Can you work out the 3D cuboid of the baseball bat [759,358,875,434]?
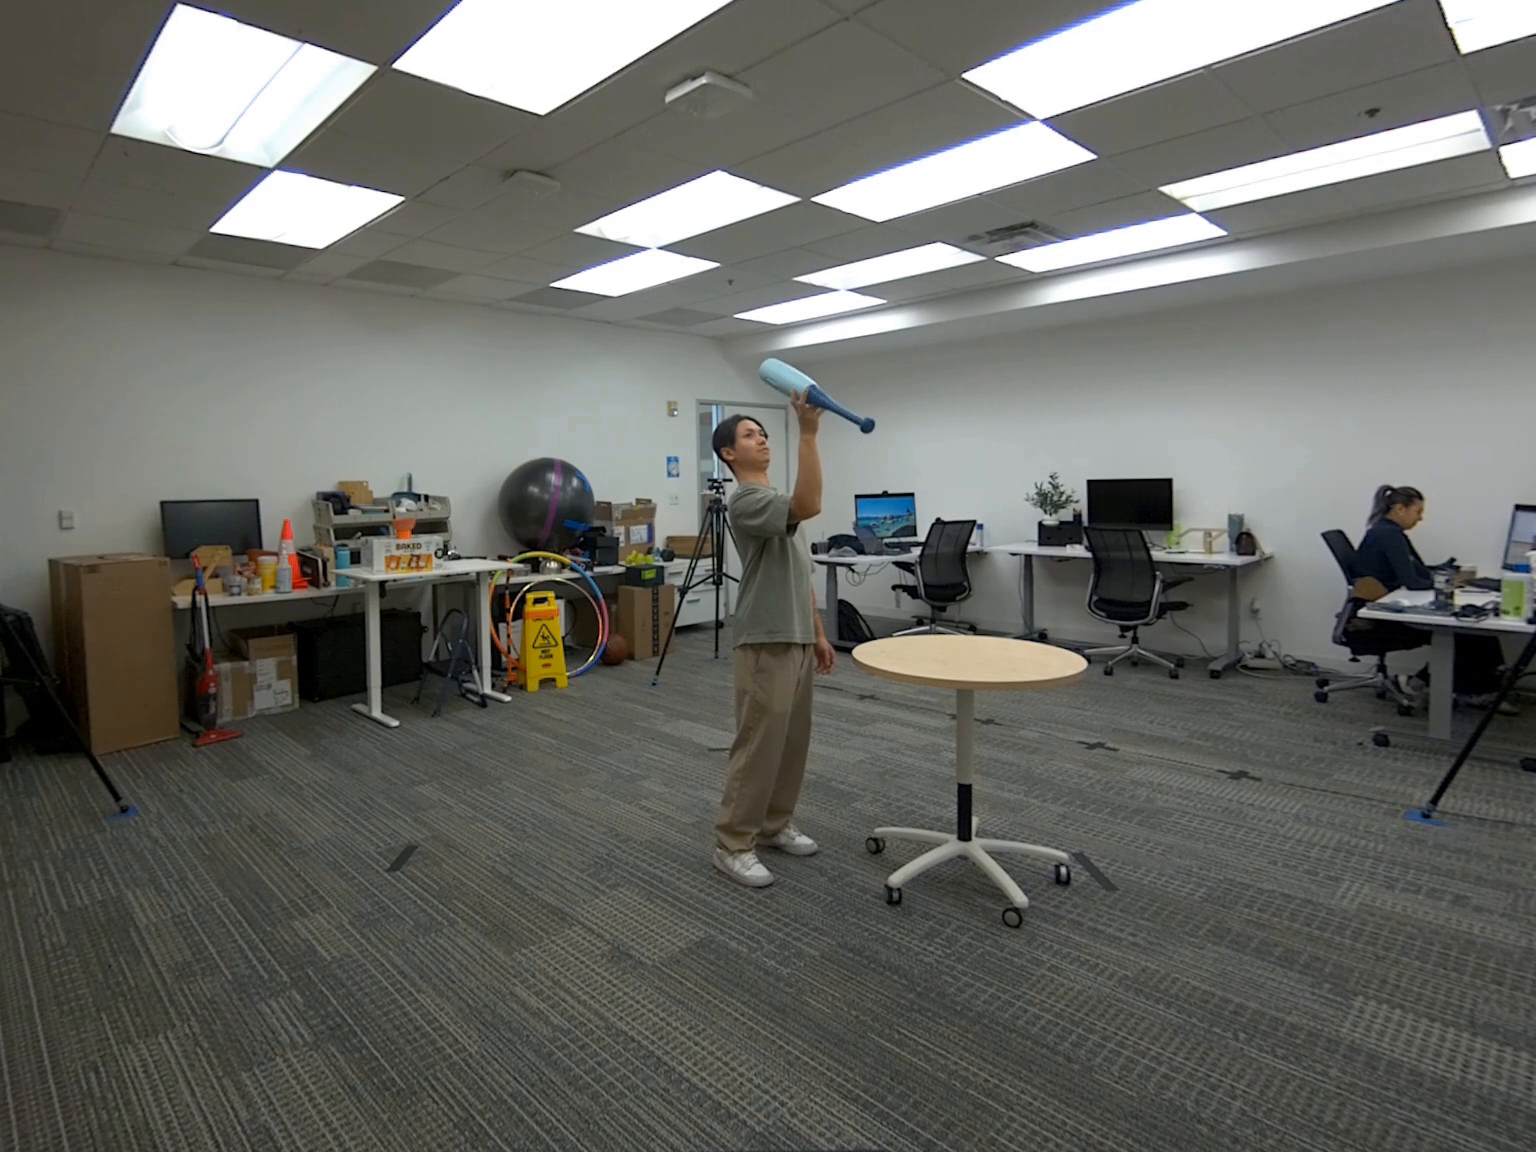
[{"bbox_3d":[0.154,-0.565,2.704,0.087,0.088,0.565,-4,31,-34],"label":"baseball bat"}]
